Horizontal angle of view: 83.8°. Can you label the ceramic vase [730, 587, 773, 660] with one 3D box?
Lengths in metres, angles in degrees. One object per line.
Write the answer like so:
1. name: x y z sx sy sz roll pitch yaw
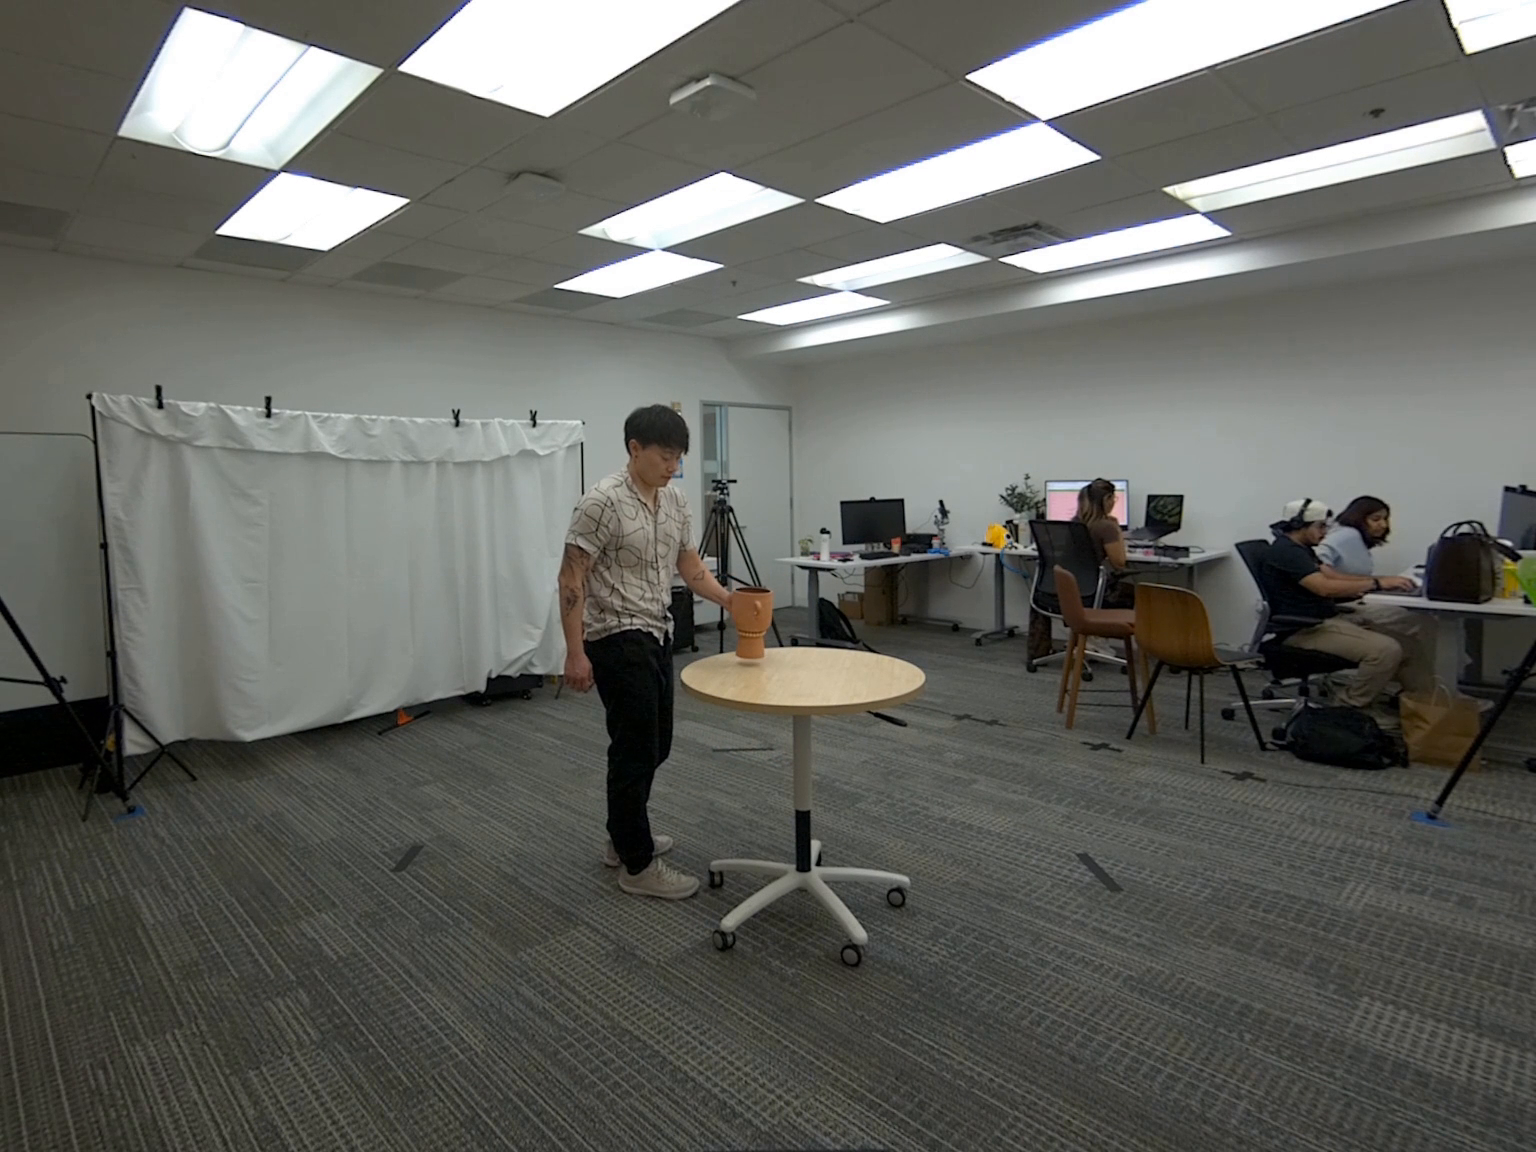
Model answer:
1. ceramic vase: -0.057 0.154 2.816 0.138 0.218 0.156 6 8 26
